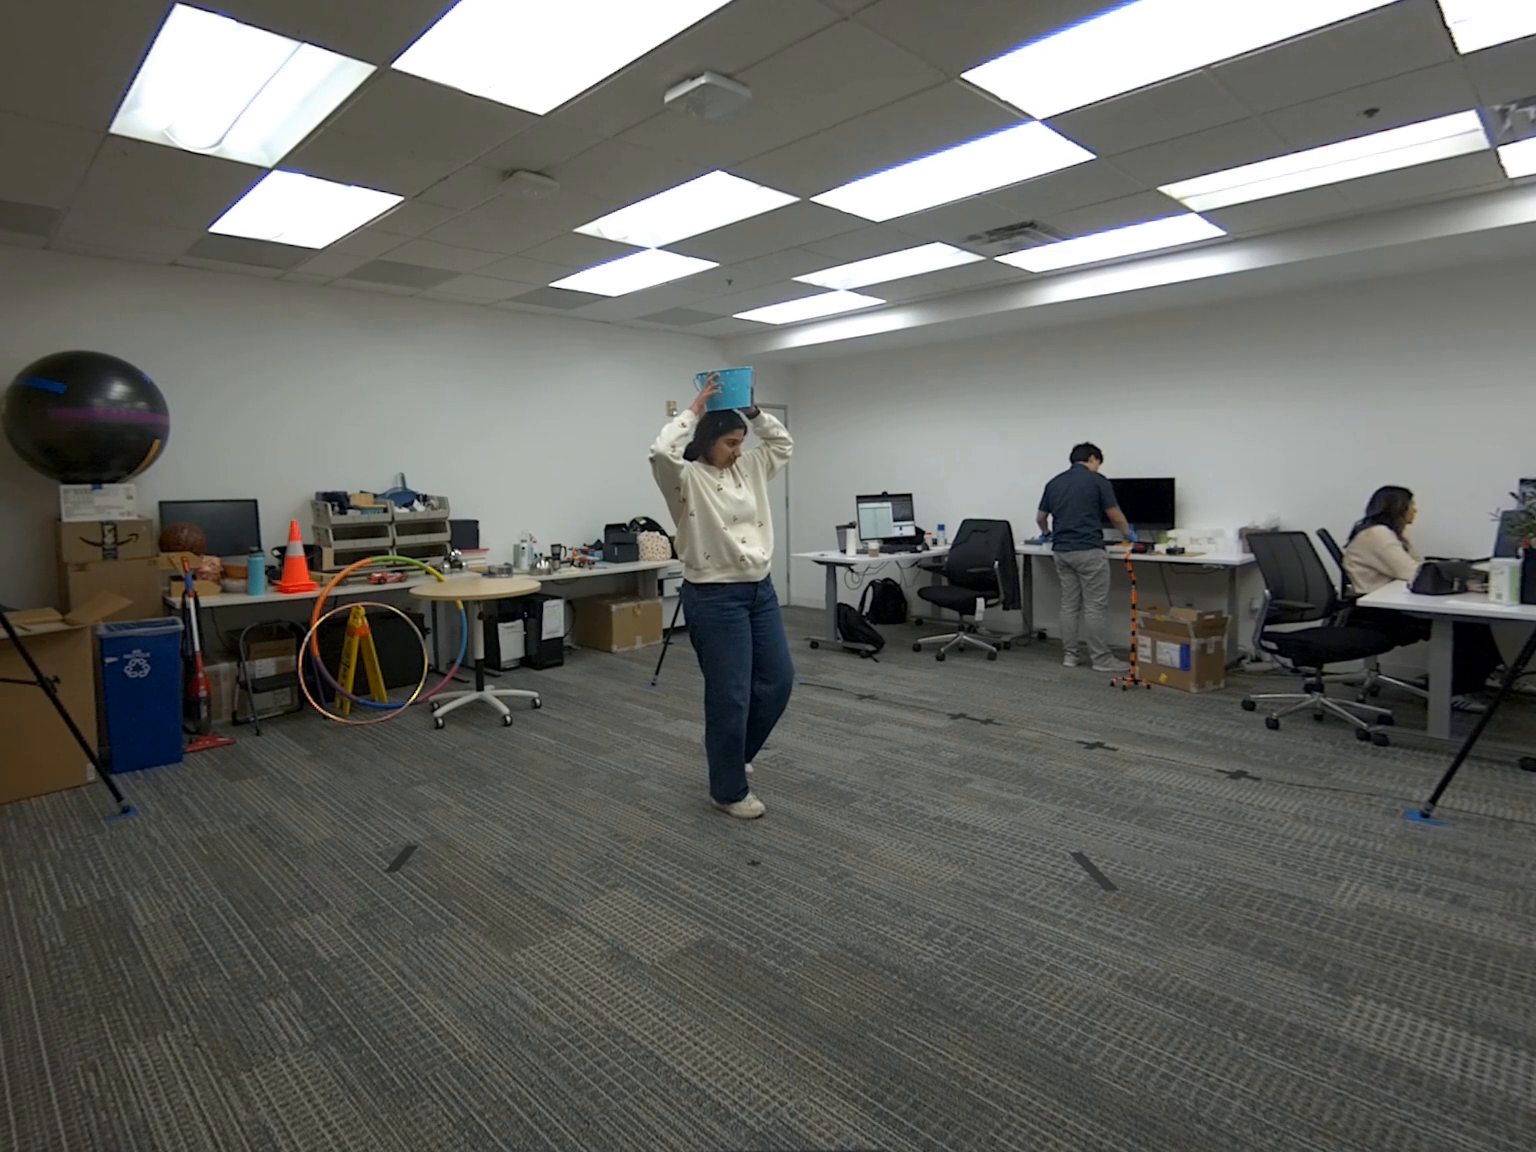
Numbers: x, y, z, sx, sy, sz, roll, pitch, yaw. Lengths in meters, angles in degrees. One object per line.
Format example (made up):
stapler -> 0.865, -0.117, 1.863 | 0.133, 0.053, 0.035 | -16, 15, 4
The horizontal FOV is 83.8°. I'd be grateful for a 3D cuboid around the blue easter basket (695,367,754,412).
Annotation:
blue easter basket -> -0.164, -0.743, 3.421 | 0.243, 0.155, 0.245 | -7, 9, -1
